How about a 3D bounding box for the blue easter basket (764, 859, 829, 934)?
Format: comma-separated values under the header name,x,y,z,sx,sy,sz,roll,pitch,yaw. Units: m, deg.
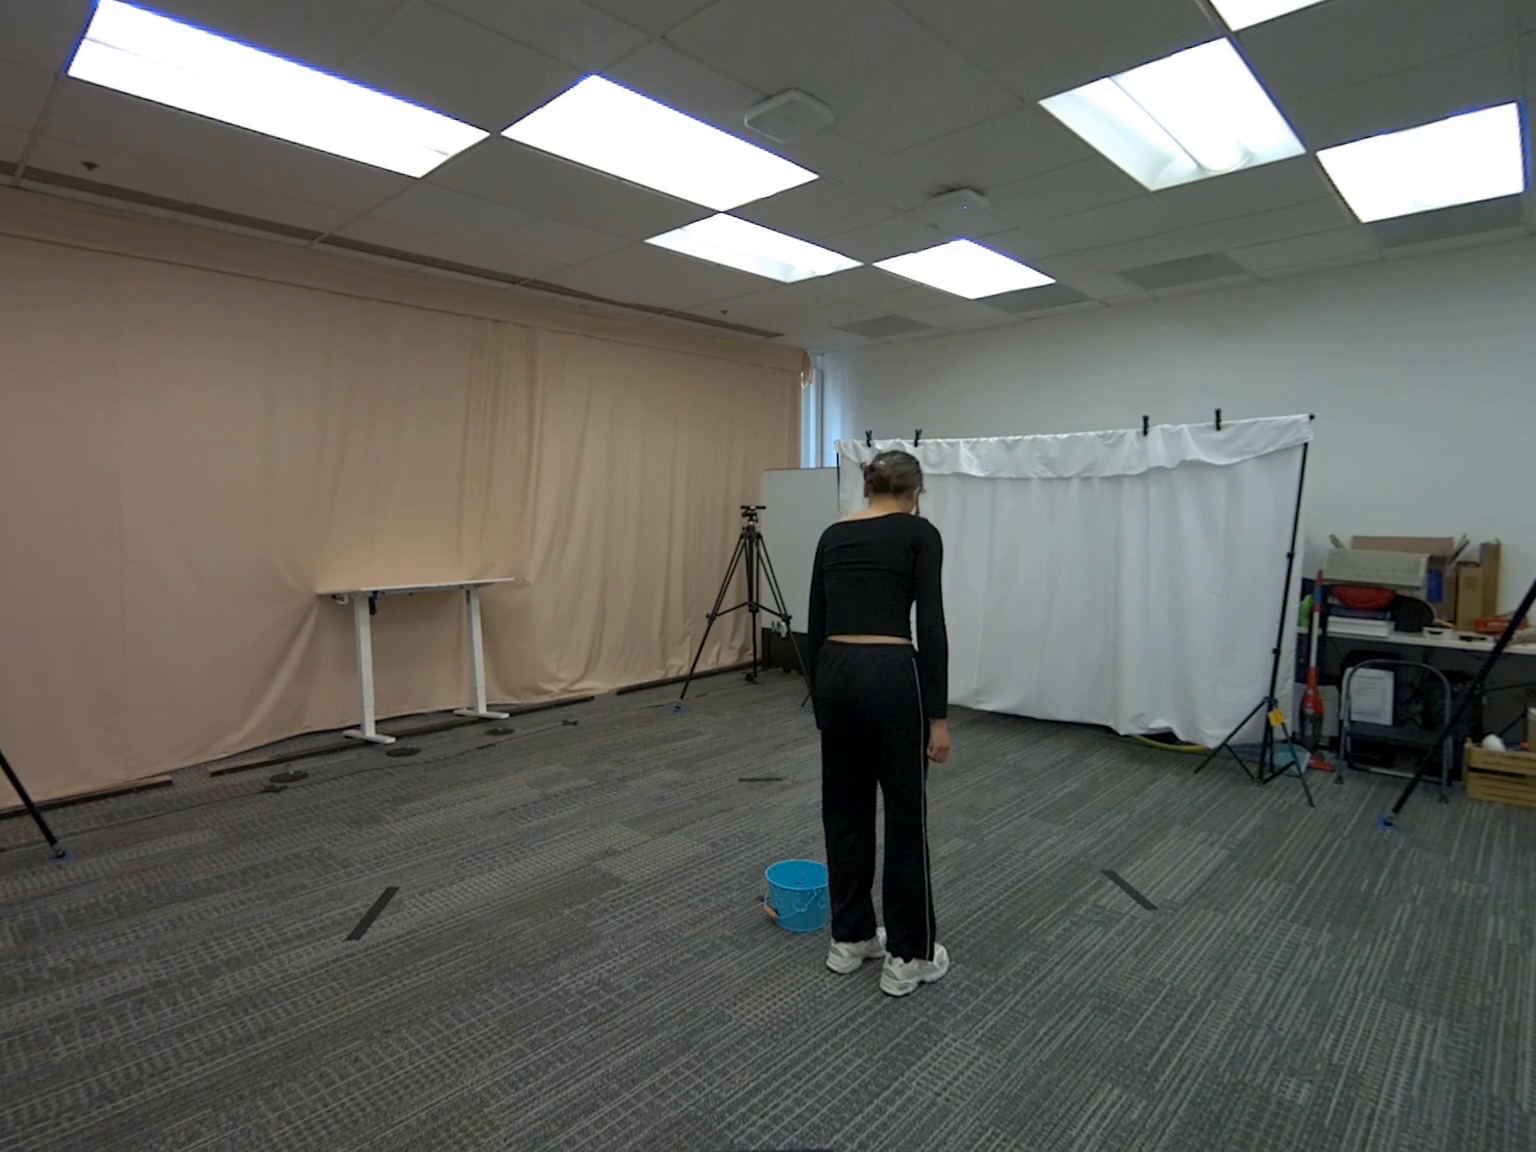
name,x,y,z,sx,sy,sz,roll,pitch,yaw
blue easter basket,0.107,1.076,2.839,0.243,0.155,0.244,0,5,-2
